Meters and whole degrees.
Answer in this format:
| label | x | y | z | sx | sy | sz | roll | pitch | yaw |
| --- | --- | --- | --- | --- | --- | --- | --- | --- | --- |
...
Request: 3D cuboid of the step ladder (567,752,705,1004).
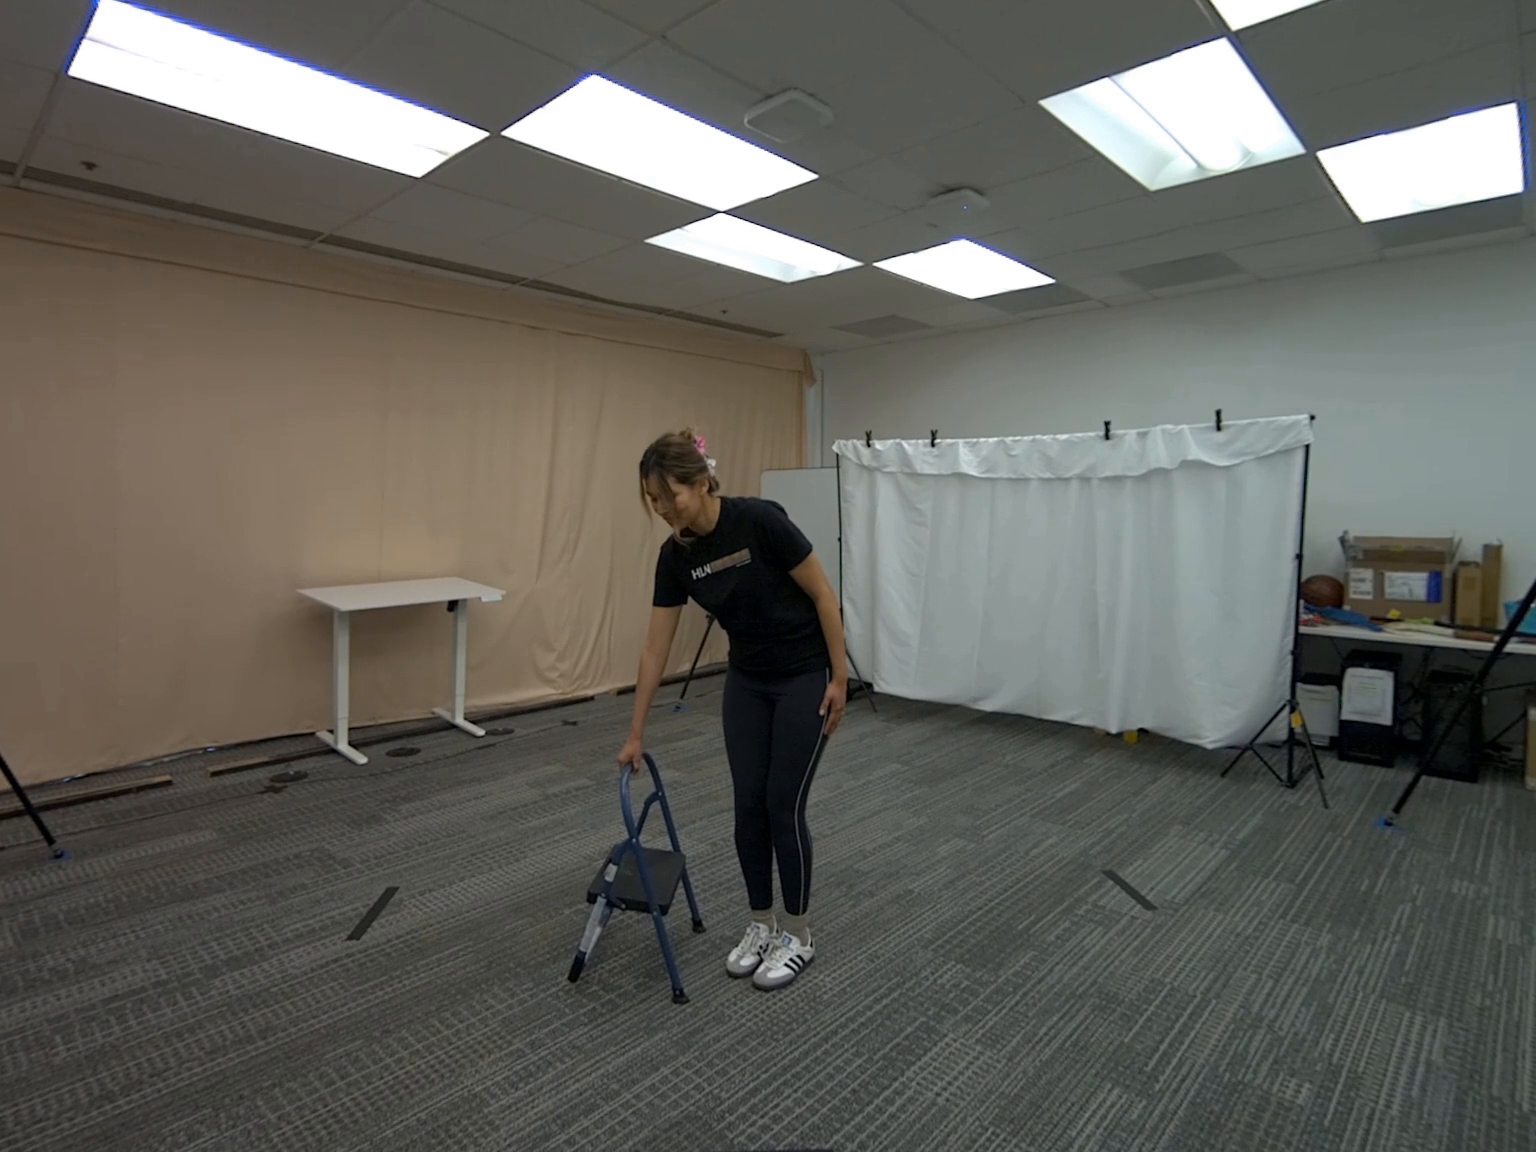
| label | x | y | z | sx | sy | sz | roll | pitch | yaw |
| --- | --- | --- | --- | --- | --- | --- | --- | --- | --- |
| step ladder | -0.360 | 0.865 | 2.565 | 0.351 | 0.605 | 0.429 | 6 | 4 | 4 |
